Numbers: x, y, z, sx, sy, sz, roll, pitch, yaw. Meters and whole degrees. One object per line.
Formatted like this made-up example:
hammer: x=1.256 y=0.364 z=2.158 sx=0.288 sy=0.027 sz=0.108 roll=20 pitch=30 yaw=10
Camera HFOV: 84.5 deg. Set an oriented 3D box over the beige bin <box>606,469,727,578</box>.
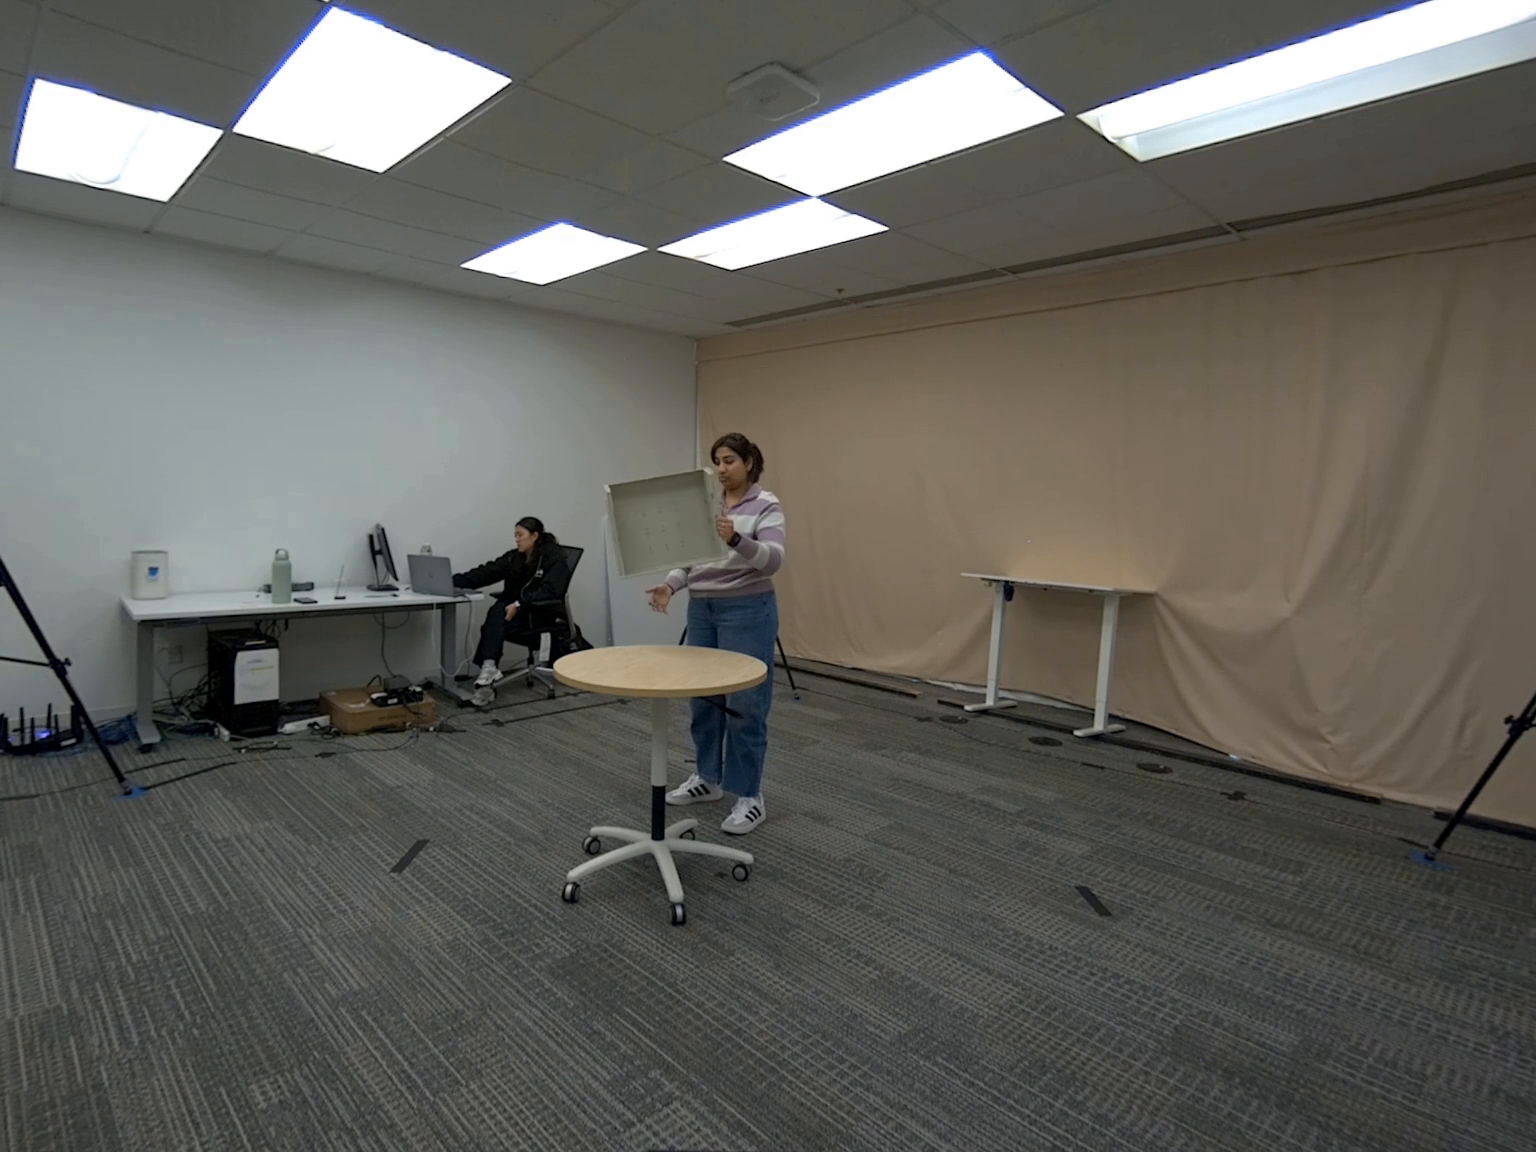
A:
beige bin: x=-0.406 y=-0.205 z=3.278 sx=0.419 sy=0.378 sz=0.190 roll=-11 pitch=-3 yaw=-11
